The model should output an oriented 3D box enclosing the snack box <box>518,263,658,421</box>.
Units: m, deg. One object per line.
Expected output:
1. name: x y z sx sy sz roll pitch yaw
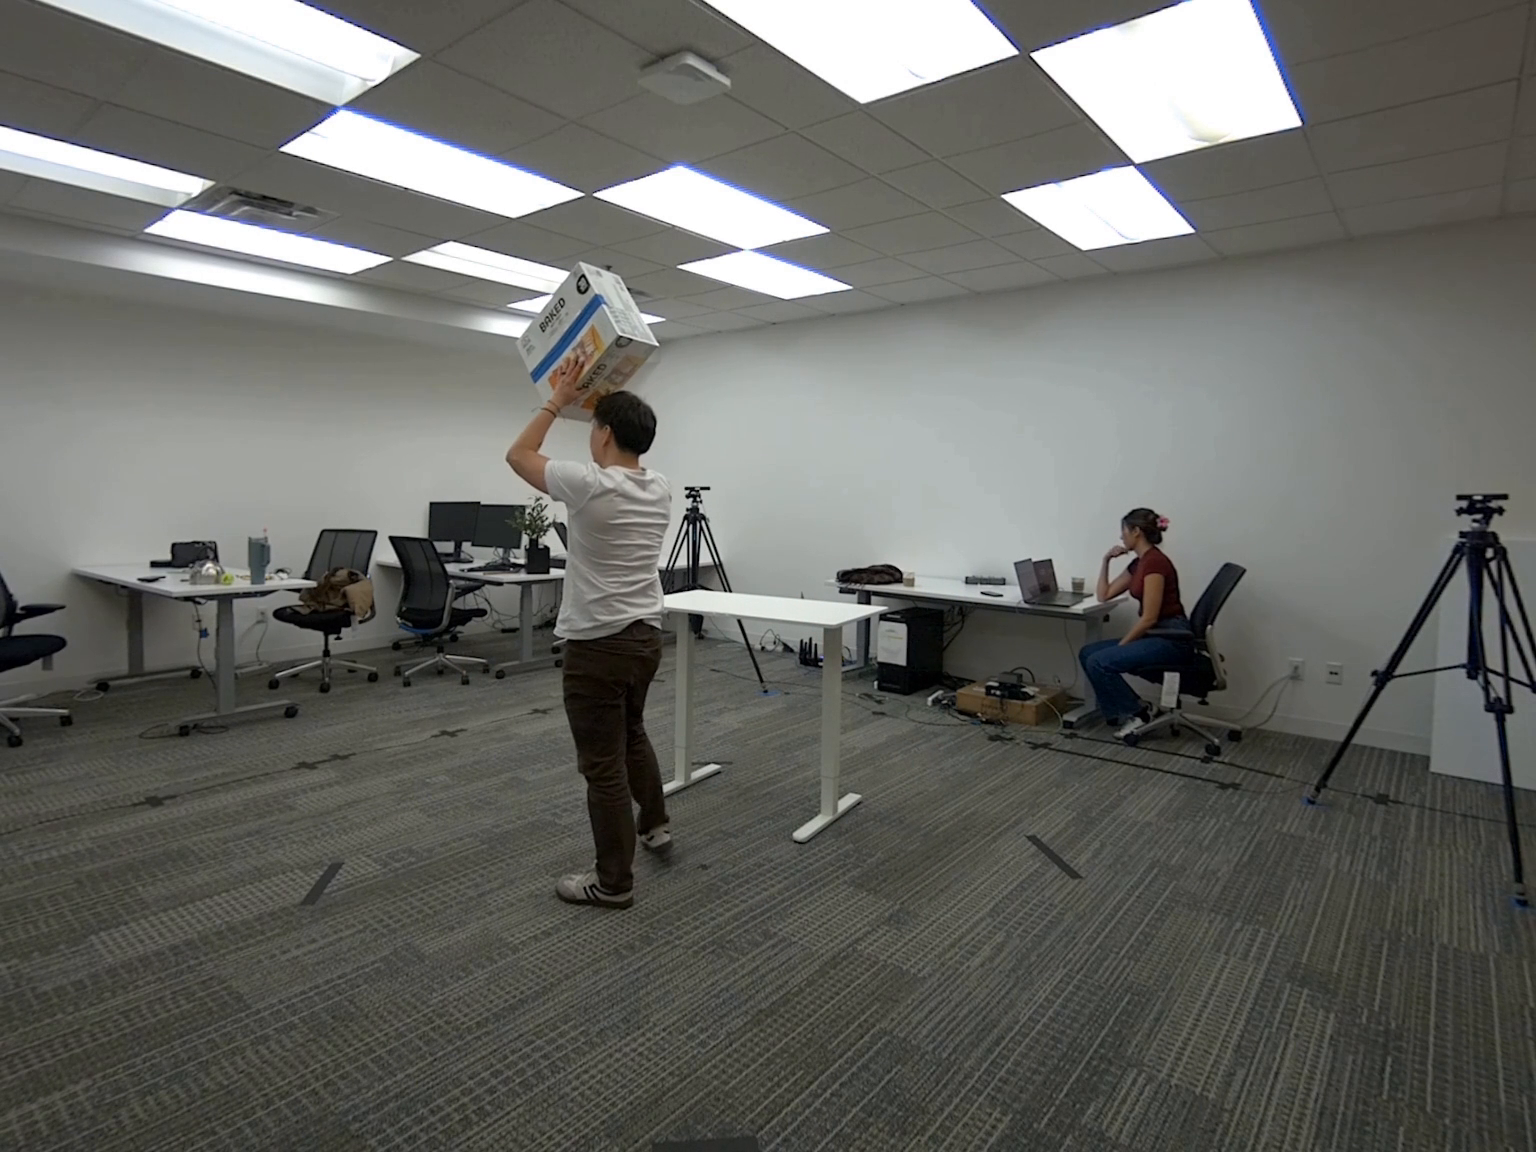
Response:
1. snack box: -0.656 -0.807 2.977 0.407 0.350 0.199 -40 -23 29
